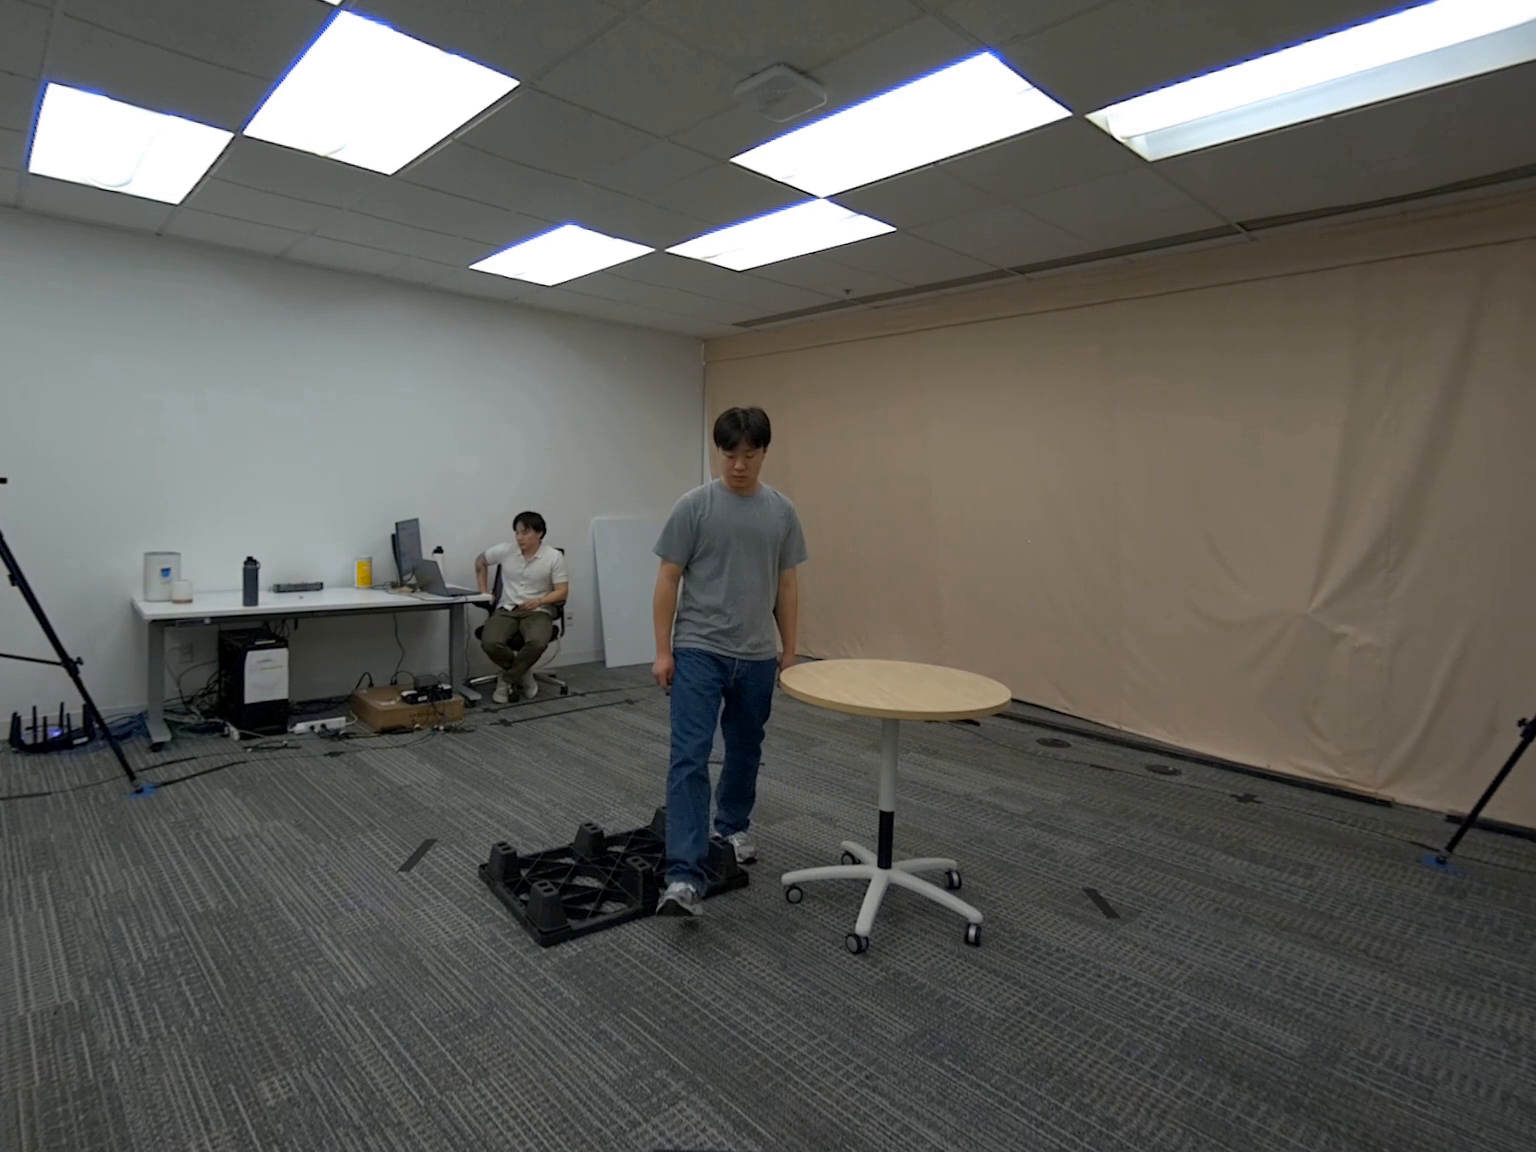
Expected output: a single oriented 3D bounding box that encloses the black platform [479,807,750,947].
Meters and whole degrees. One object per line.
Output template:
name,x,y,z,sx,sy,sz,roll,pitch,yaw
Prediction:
black platform,-0.563,1.037,3.034,0.788,0.143,0.620,-3,6,-37
